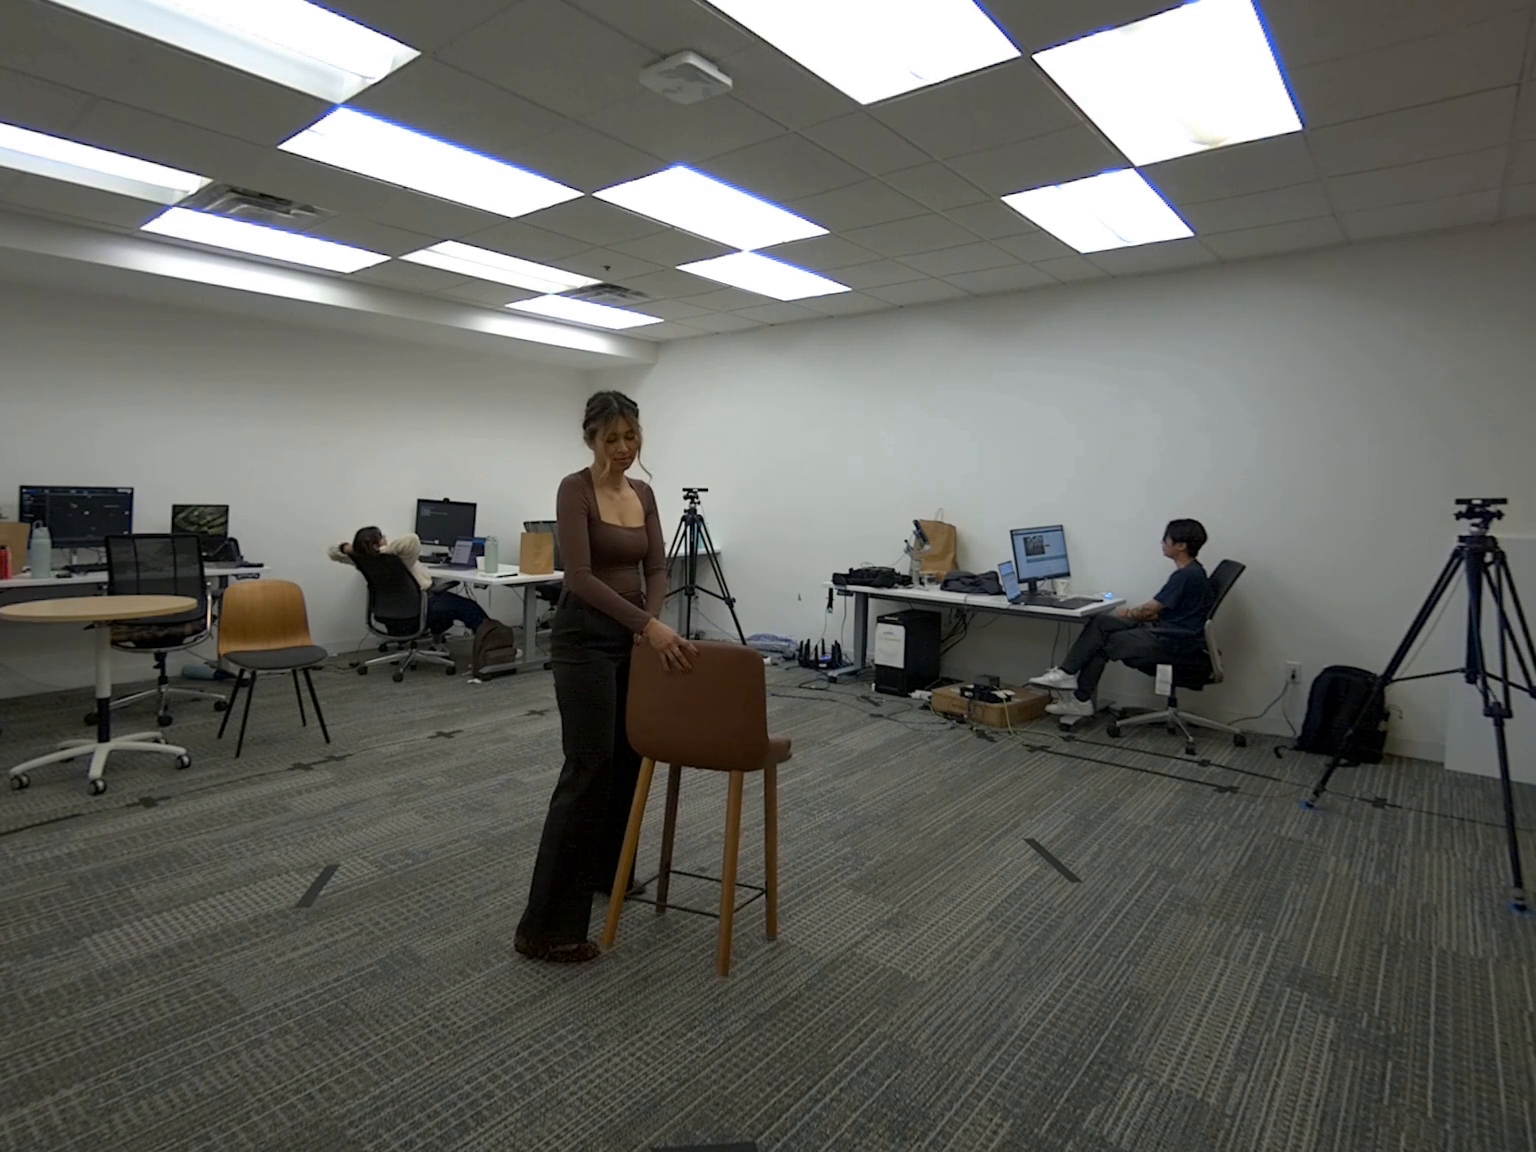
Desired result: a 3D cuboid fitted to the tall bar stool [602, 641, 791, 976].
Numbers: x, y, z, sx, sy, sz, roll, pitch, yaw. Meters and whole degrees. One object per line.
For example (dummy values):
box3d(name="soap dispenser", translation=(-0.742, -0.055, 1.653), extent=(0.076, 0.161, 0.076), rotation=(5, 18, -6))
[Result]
box3d(name="tall bar stool", translation=(-0.195, 0.652, 2.567), extent=(0.466, 0.895, 0.455), rotation=(2, -7, 19))
